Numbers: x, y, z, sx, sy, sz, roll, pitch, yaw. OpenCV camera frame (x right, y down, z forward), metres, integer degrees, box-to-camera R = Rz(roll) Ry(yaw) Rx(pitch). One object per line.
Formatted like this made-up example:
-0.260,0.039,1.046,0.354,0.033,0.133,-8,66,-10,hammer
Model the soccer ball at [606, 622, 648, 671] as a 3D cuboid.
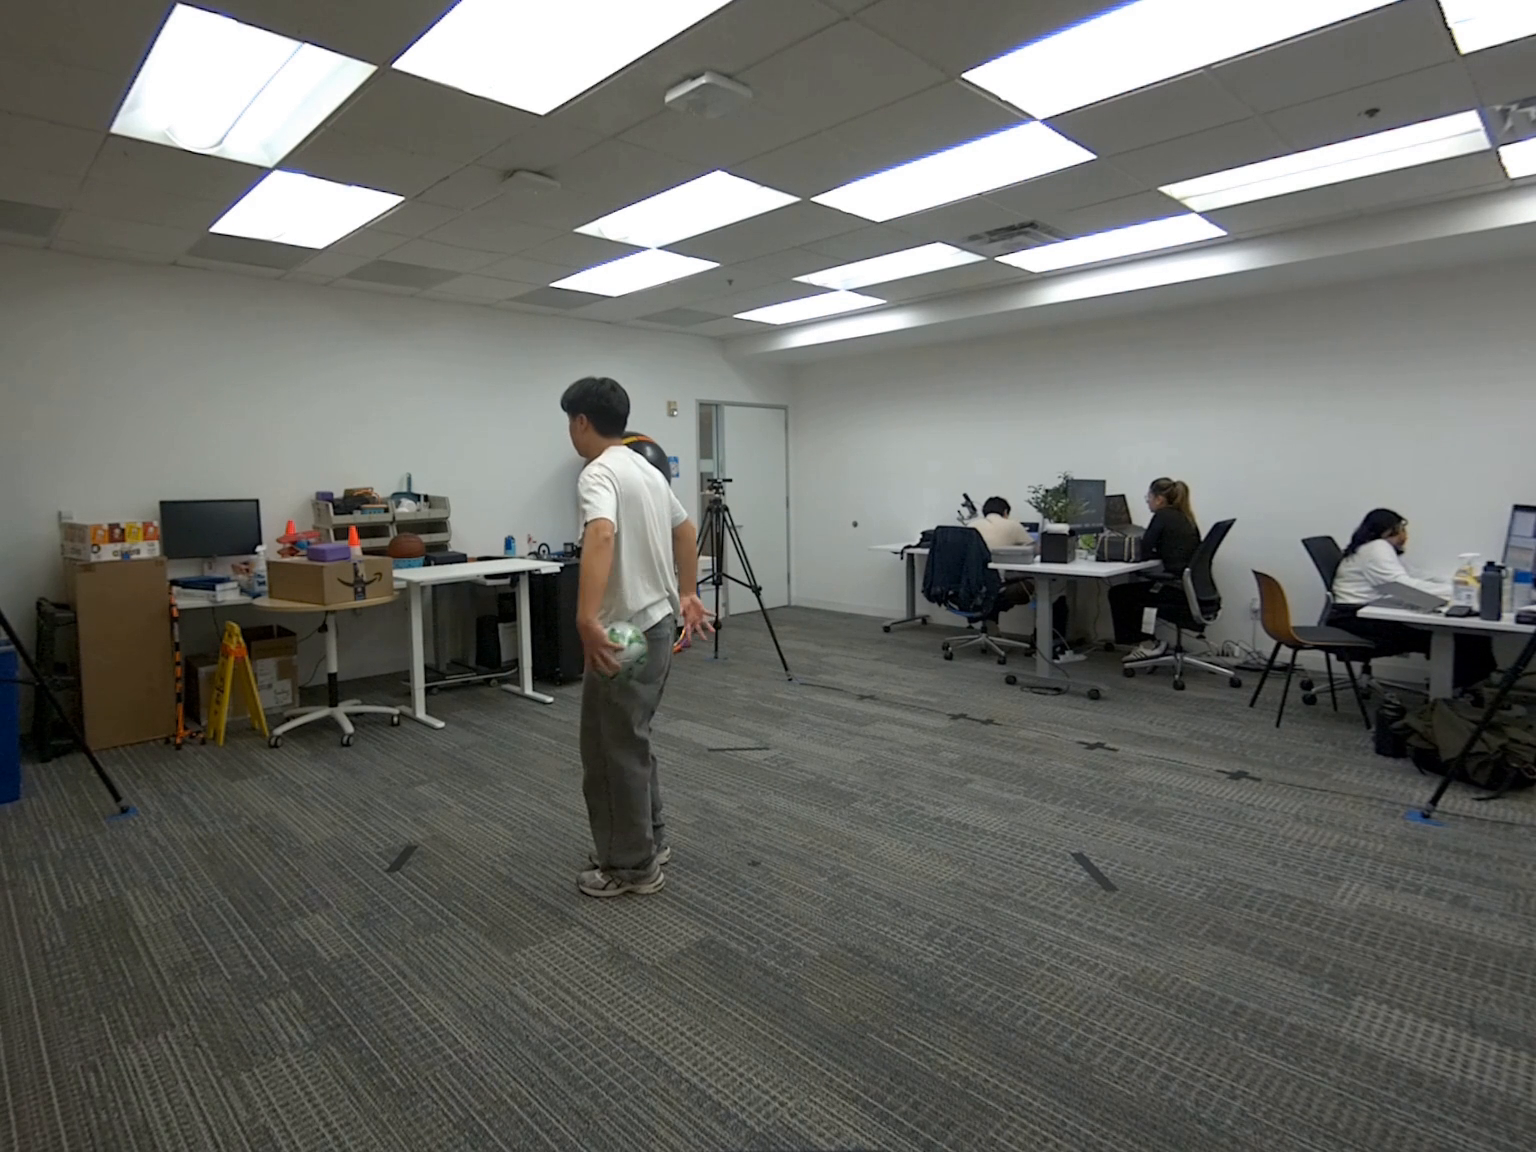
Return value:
-0.439,0.221,2.577,0.187,0.187,0.188,-1,5,-2,soccer ball
